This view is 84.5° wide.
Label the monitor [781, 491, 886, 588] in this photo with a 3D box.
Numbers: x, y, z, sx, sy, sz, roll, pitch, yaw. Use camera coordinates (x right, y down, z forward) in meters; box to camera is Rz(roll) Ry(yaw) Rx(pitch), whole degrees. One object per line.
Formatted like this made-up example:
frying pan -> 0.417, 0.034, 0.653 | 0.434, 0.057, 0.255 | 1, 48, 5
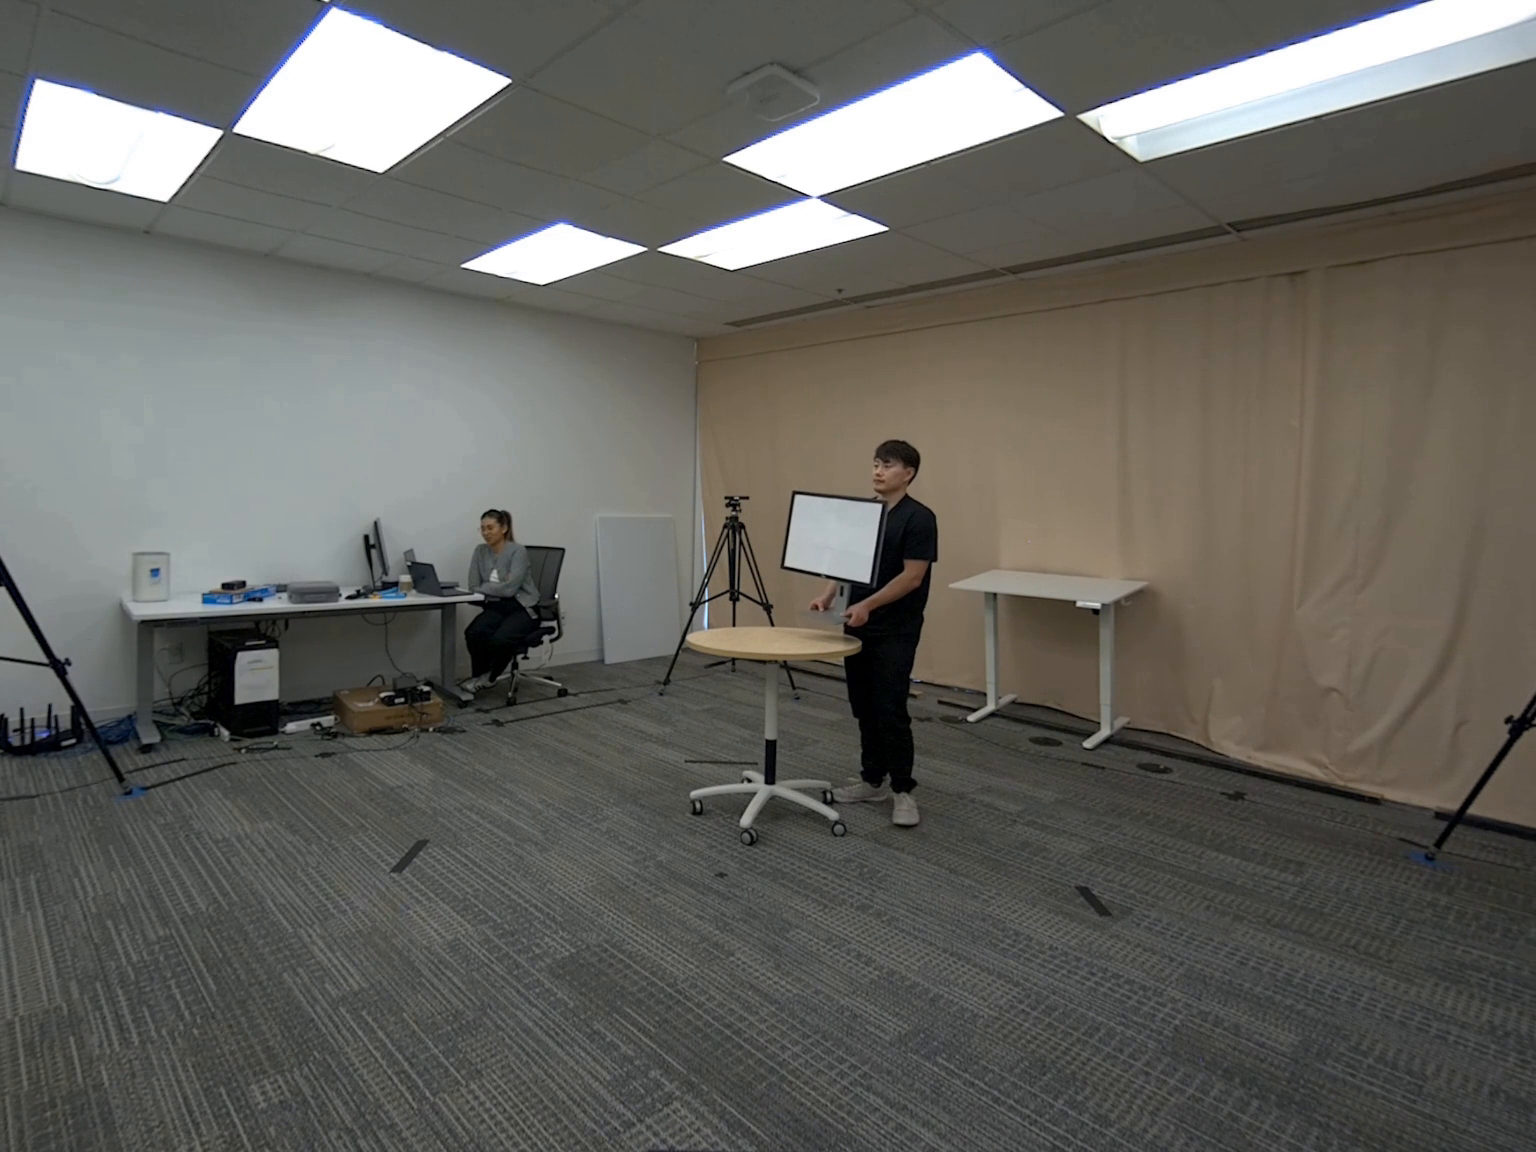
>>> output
monitor -> 0.283, -0.089, 3.667 | 0.183, 0.519, 0.554 | -8, 13, -40
